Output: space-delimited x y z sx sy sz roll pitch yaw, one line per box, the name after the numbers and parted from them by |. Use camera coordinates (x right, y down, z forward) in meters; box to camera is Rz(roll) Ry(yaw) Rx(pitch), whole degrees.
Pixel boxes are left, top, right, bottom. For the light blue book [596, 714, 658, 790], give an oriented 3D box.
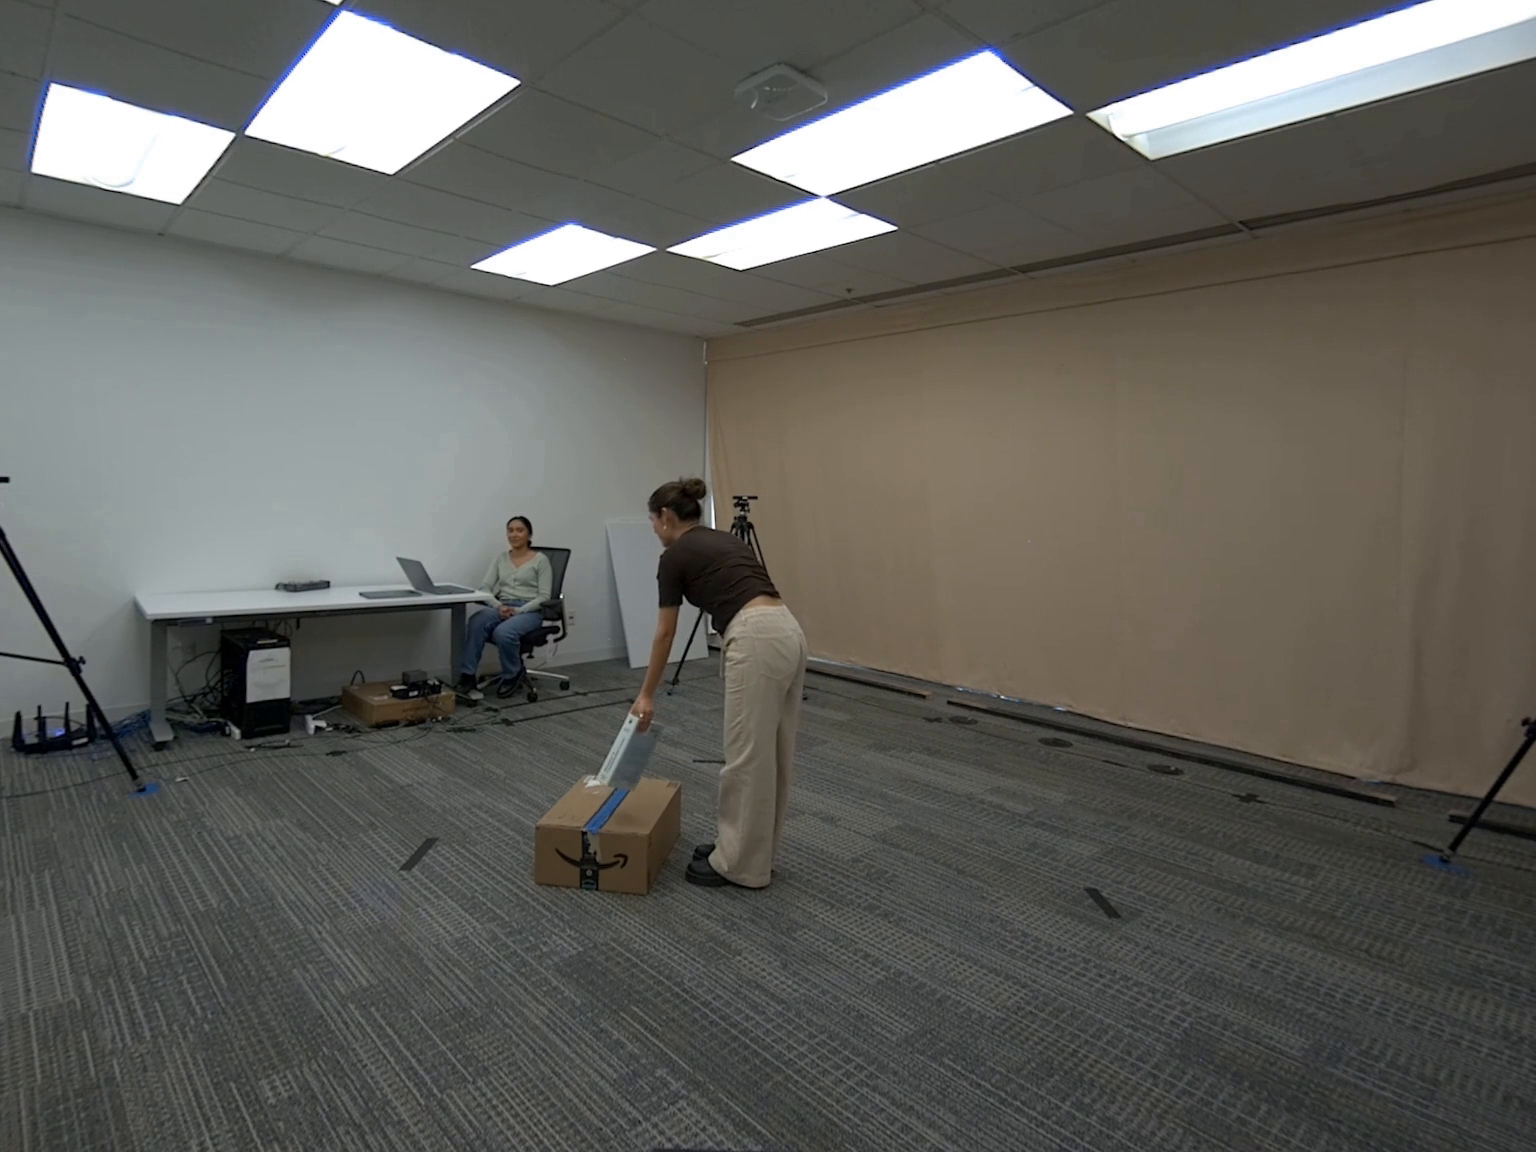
-0.505 0.645 3.100 0.060 0.261 0.186 22 -8 28 | light blue book
